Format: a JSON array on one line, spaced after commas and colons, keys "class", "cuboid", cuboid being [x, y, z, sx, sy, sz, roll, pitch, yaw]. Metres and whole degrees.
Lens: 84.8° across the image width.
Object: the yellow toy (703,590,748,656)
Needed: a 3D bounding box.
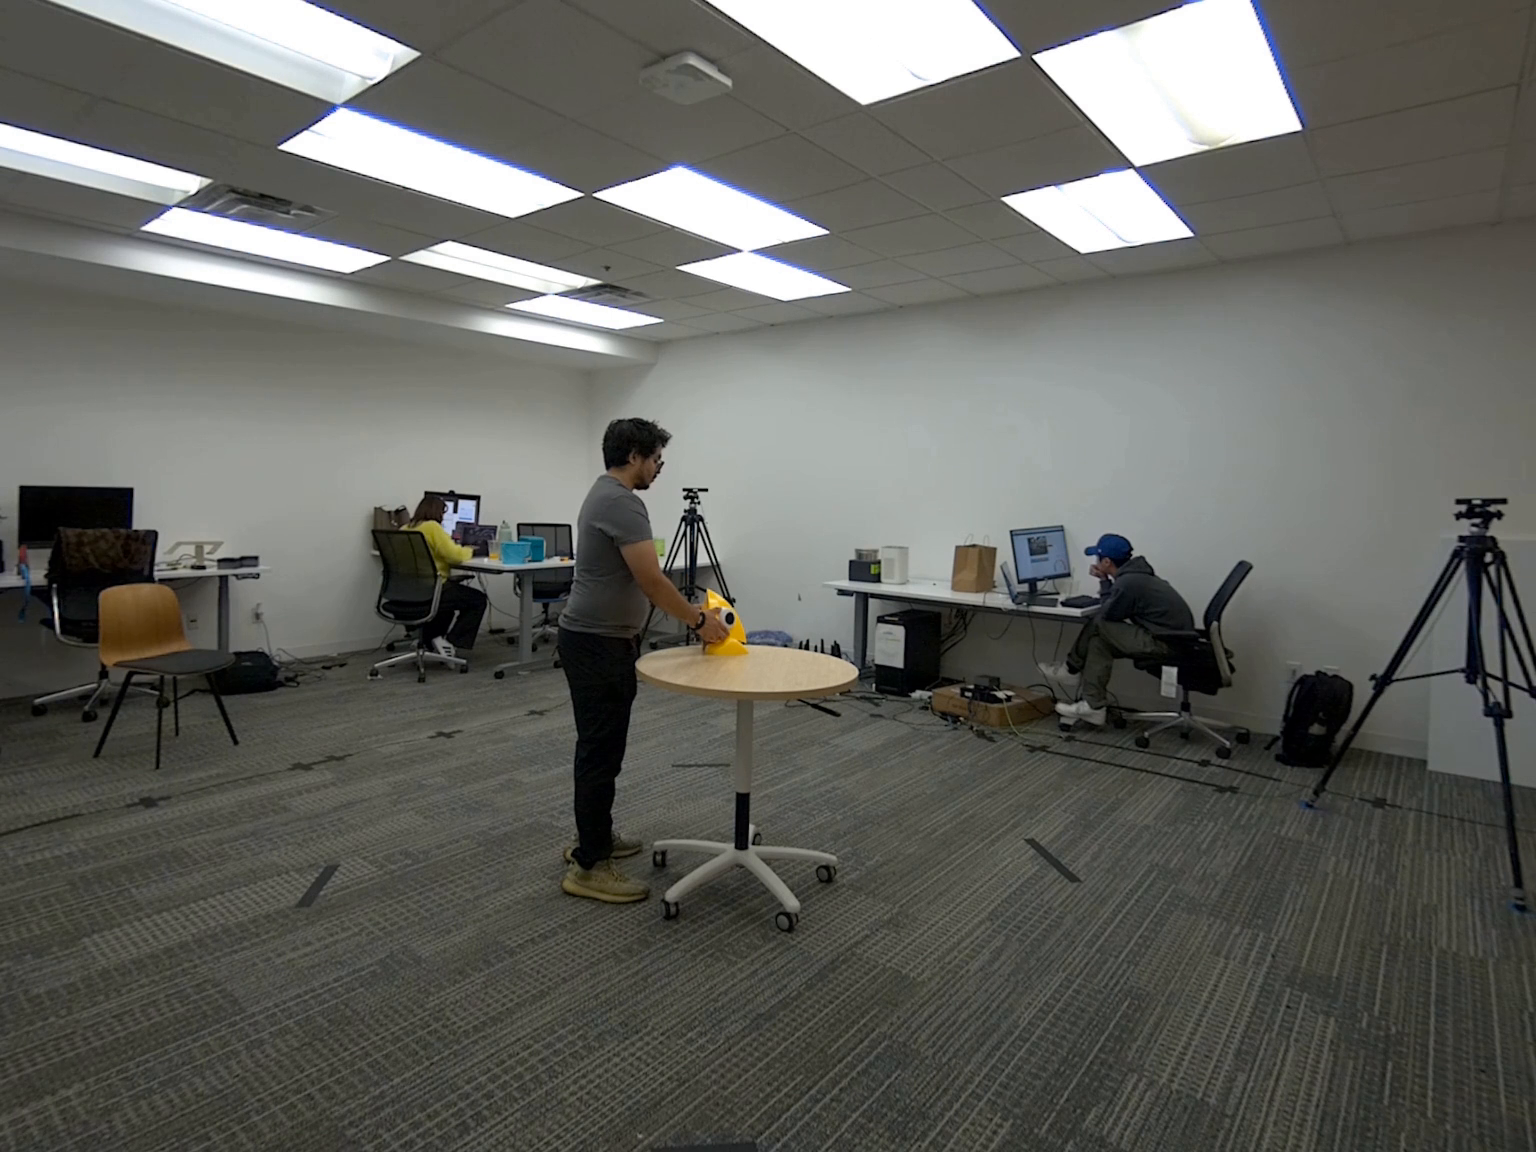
[{"class": "yellow toy", "cuboid": [-0.183, 0.163, 3.195, 0.190, 0.229, 0.209, 1, 6, -15]}]
